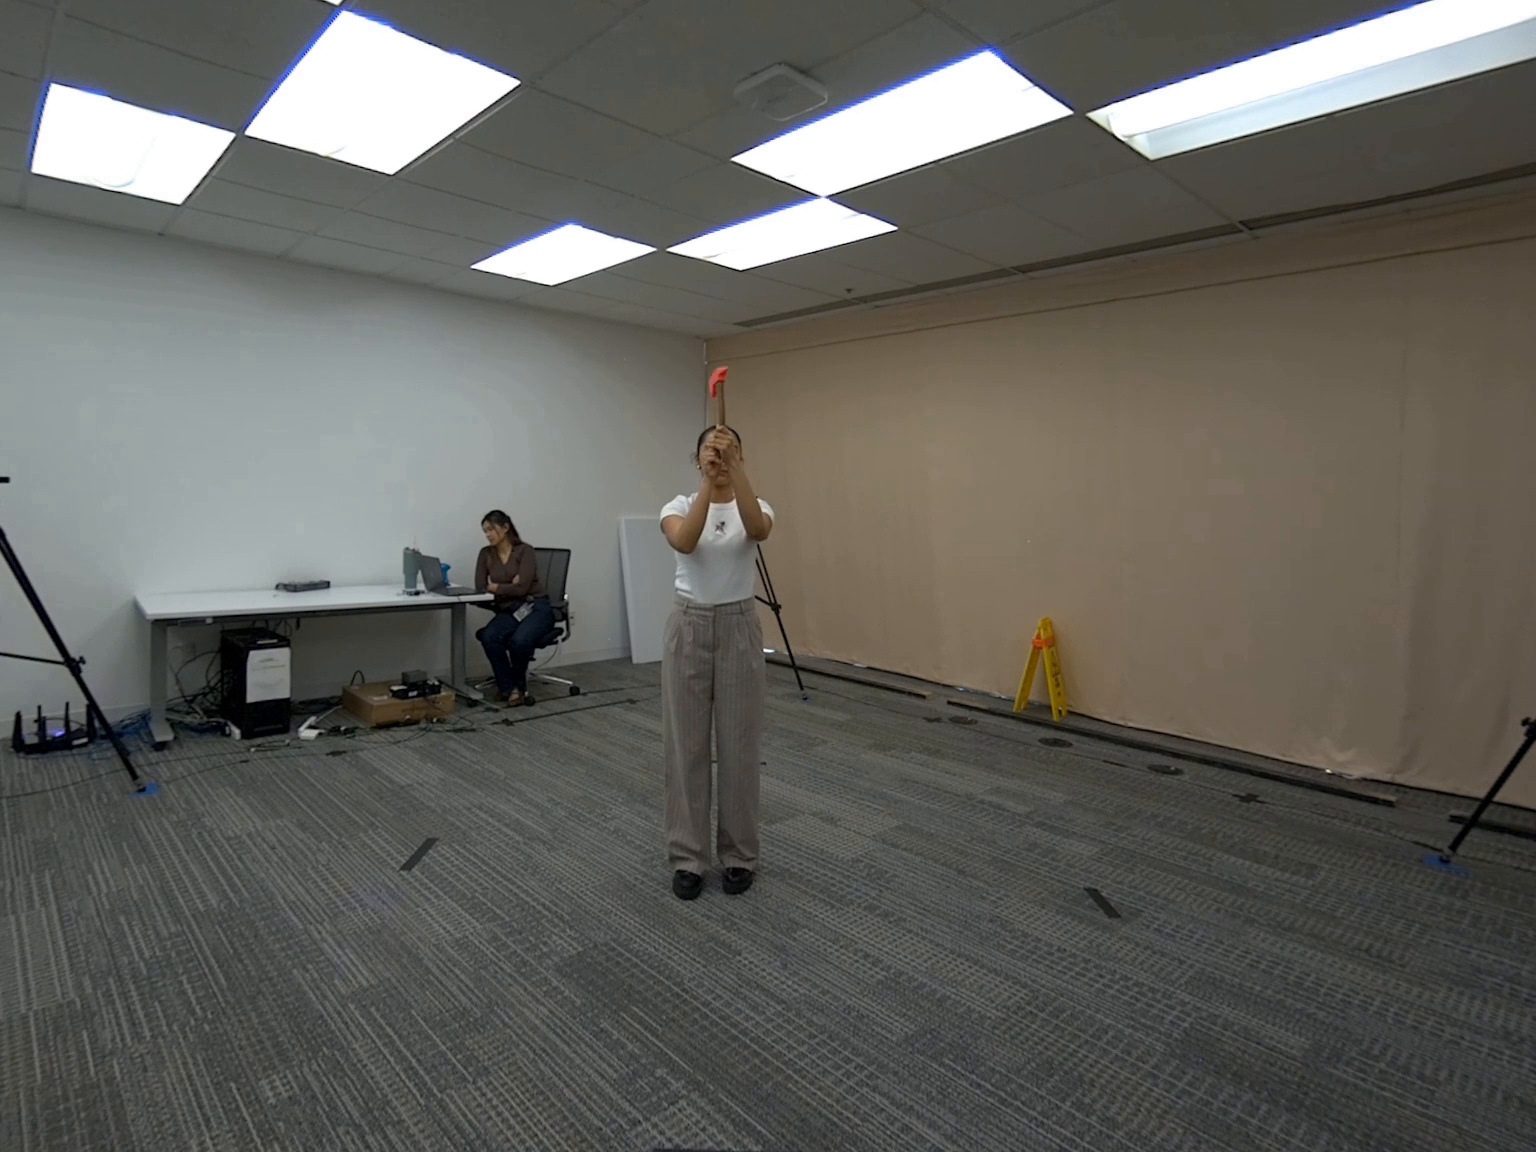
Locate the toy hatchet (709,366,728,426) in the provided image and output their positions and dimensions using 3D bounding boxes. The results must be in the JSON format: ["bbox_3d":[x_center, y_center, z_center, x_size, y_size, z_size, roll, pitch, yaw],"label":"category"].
[{"bbox_3d":[-0.174,-0.542,2.725,0.029,0.269,0.134,0,4,-29],"label":"toy hatchet"}]
